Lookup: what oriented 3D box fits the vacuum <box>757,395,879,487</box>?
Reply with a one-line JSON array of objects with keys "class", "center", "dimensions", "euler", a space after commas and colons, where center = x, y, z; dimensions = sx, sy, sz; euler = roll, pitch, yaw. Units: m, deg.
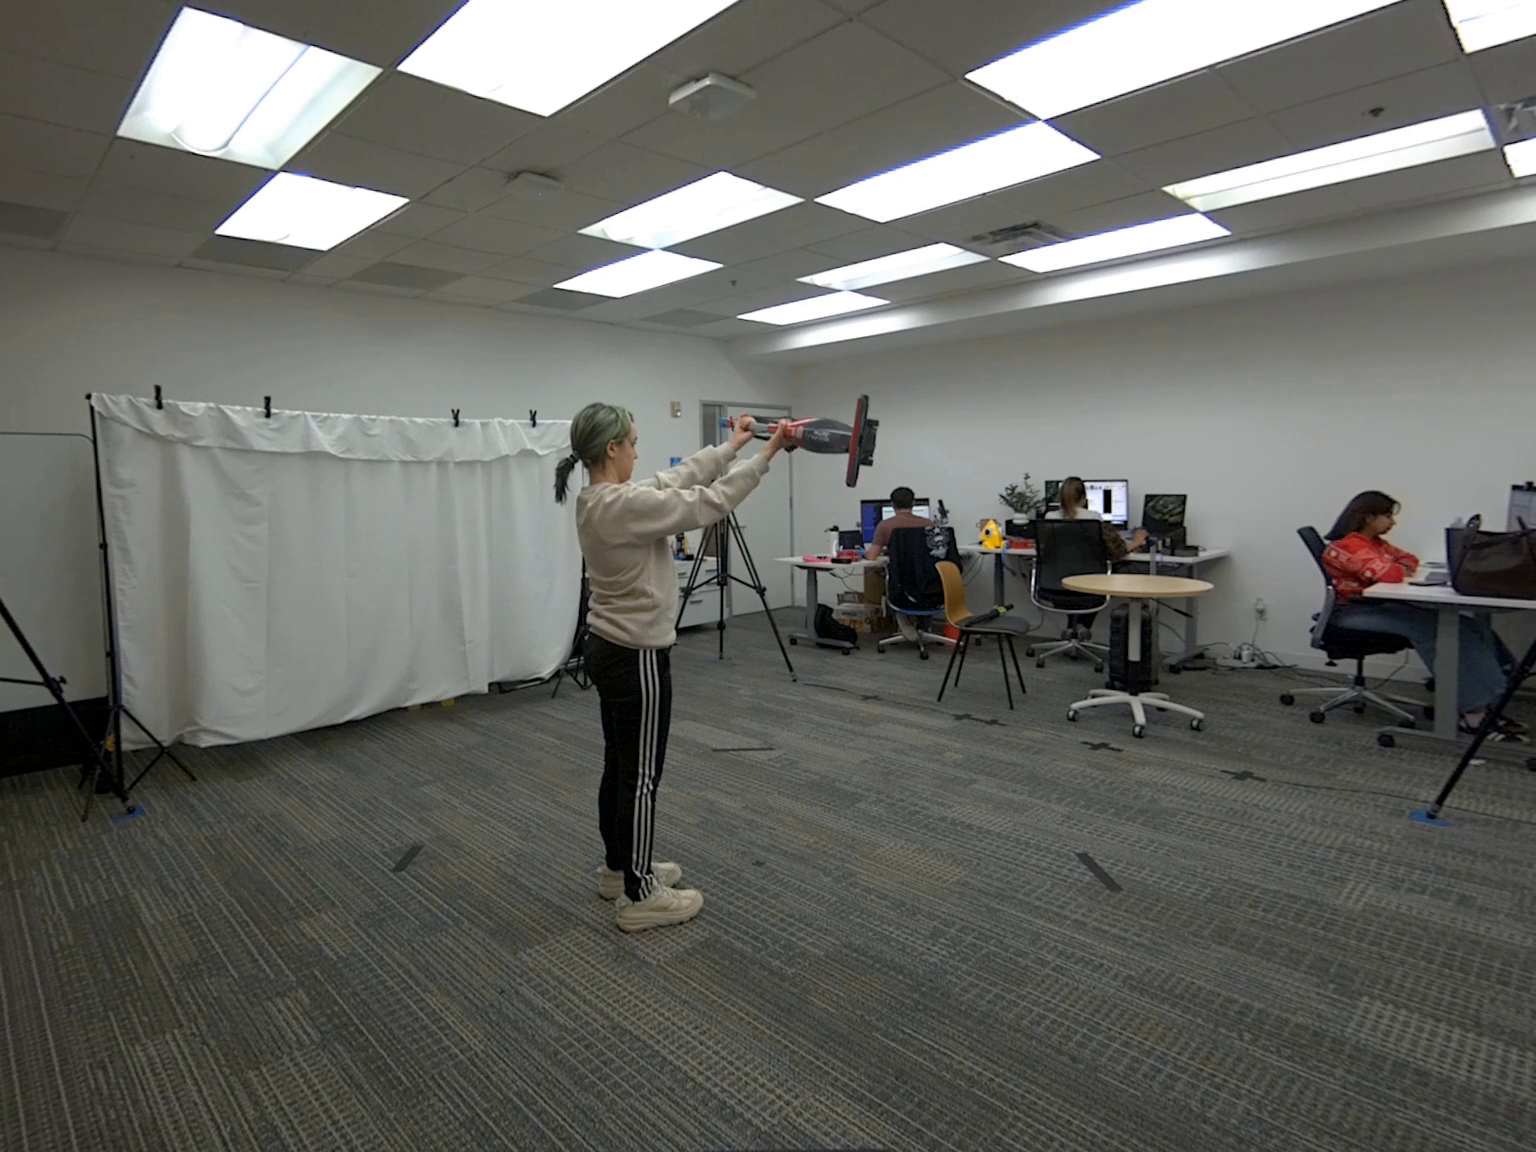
[{"class": "vacuum", "center": [0.048, -0.485, 2.839], "dimensions": [0.141, 0.251, 1.080], "euler": [5, 11, -25]}]
